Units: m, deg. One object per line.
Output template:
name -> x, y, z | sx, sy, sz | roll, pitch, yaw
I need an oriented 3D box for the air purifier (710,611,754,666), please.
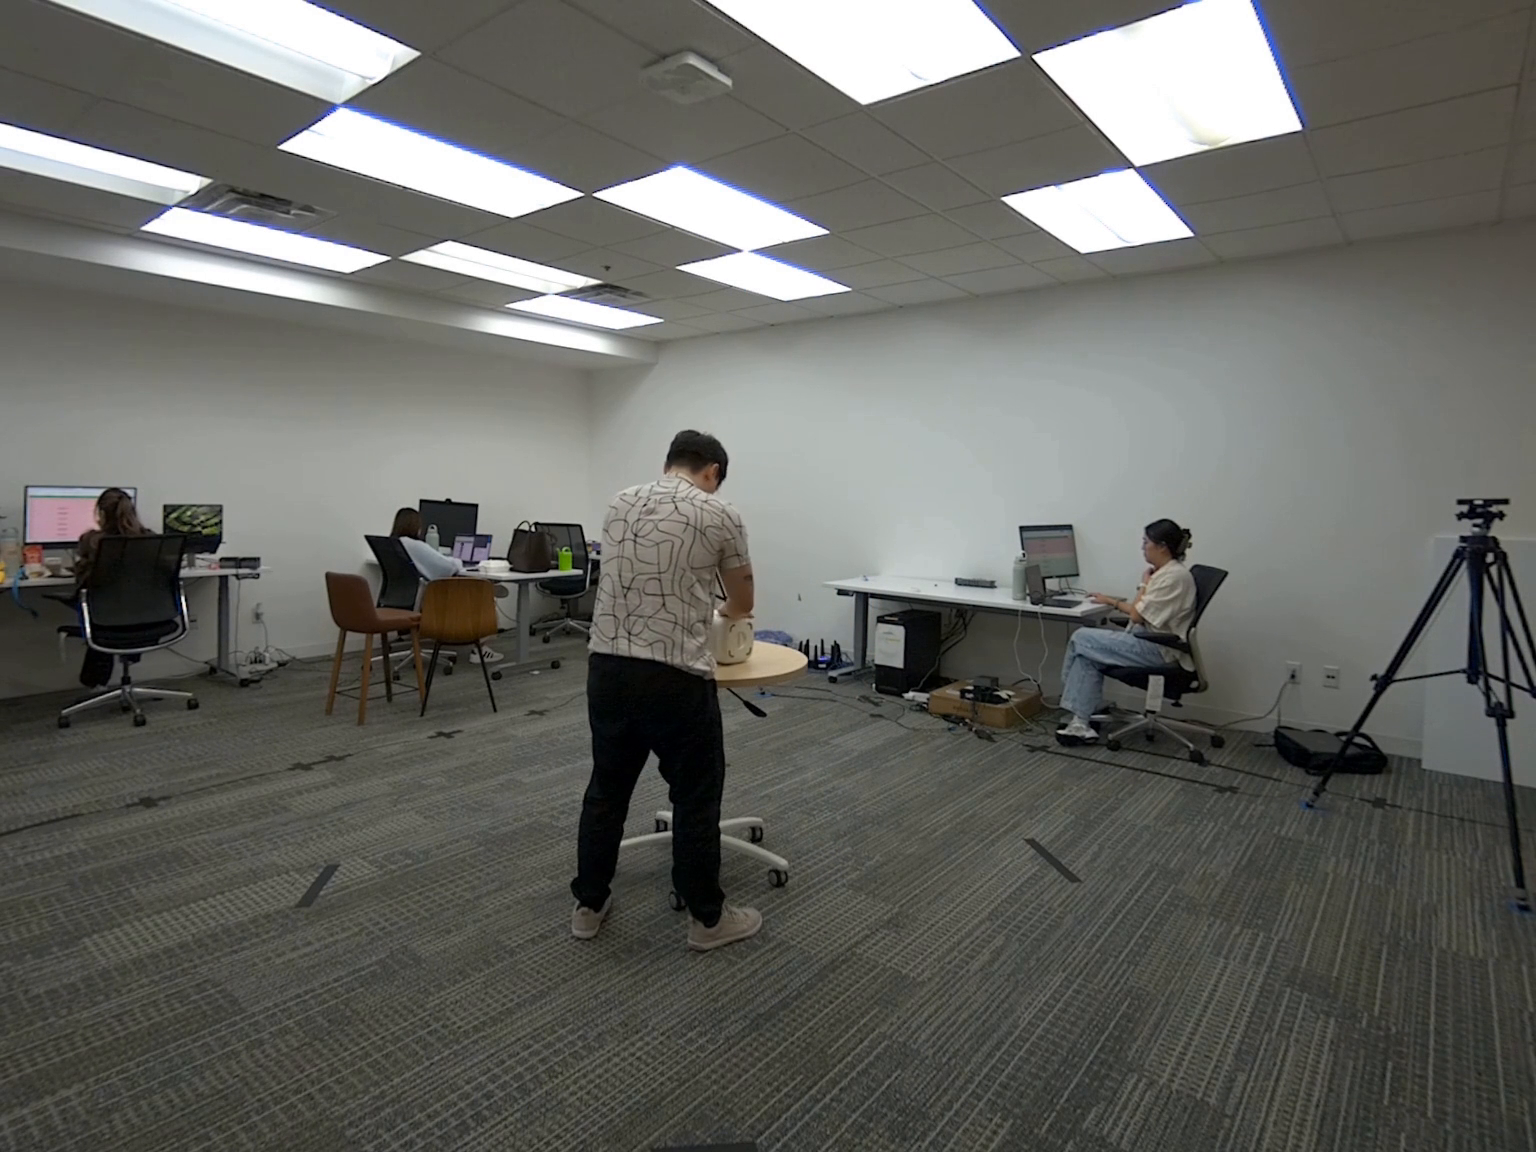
air purifier -> -0.205, 0.205, 3.040 | 0.274, 0.171, 0.166 | 6, 7, 42
